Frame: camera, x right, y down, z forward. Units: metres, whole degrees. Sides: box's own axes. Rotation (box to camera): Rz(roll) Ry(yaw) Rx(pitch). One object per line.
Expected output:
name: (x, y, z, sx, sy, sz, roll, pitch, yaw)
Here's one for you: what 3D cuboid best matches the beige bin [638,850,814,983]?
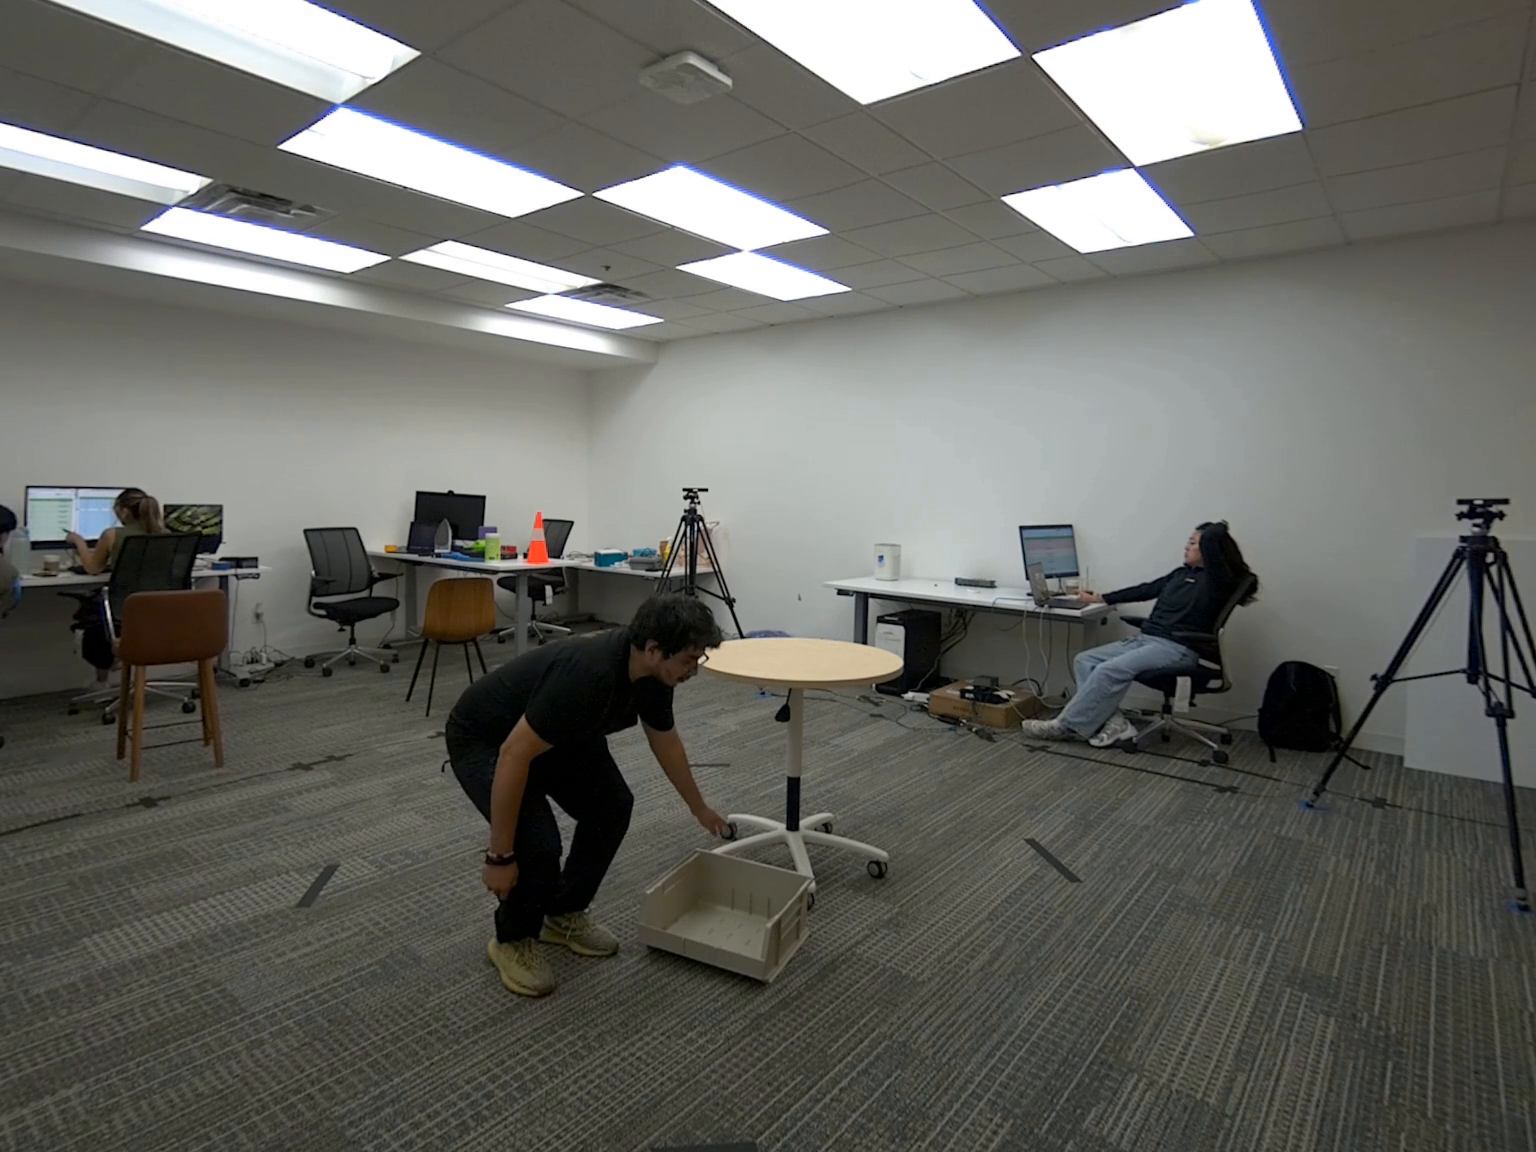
beige bin: (-0.128, 1.037, 2.612, 0.433, 0.188, 0.369, 3, 4, 23)
